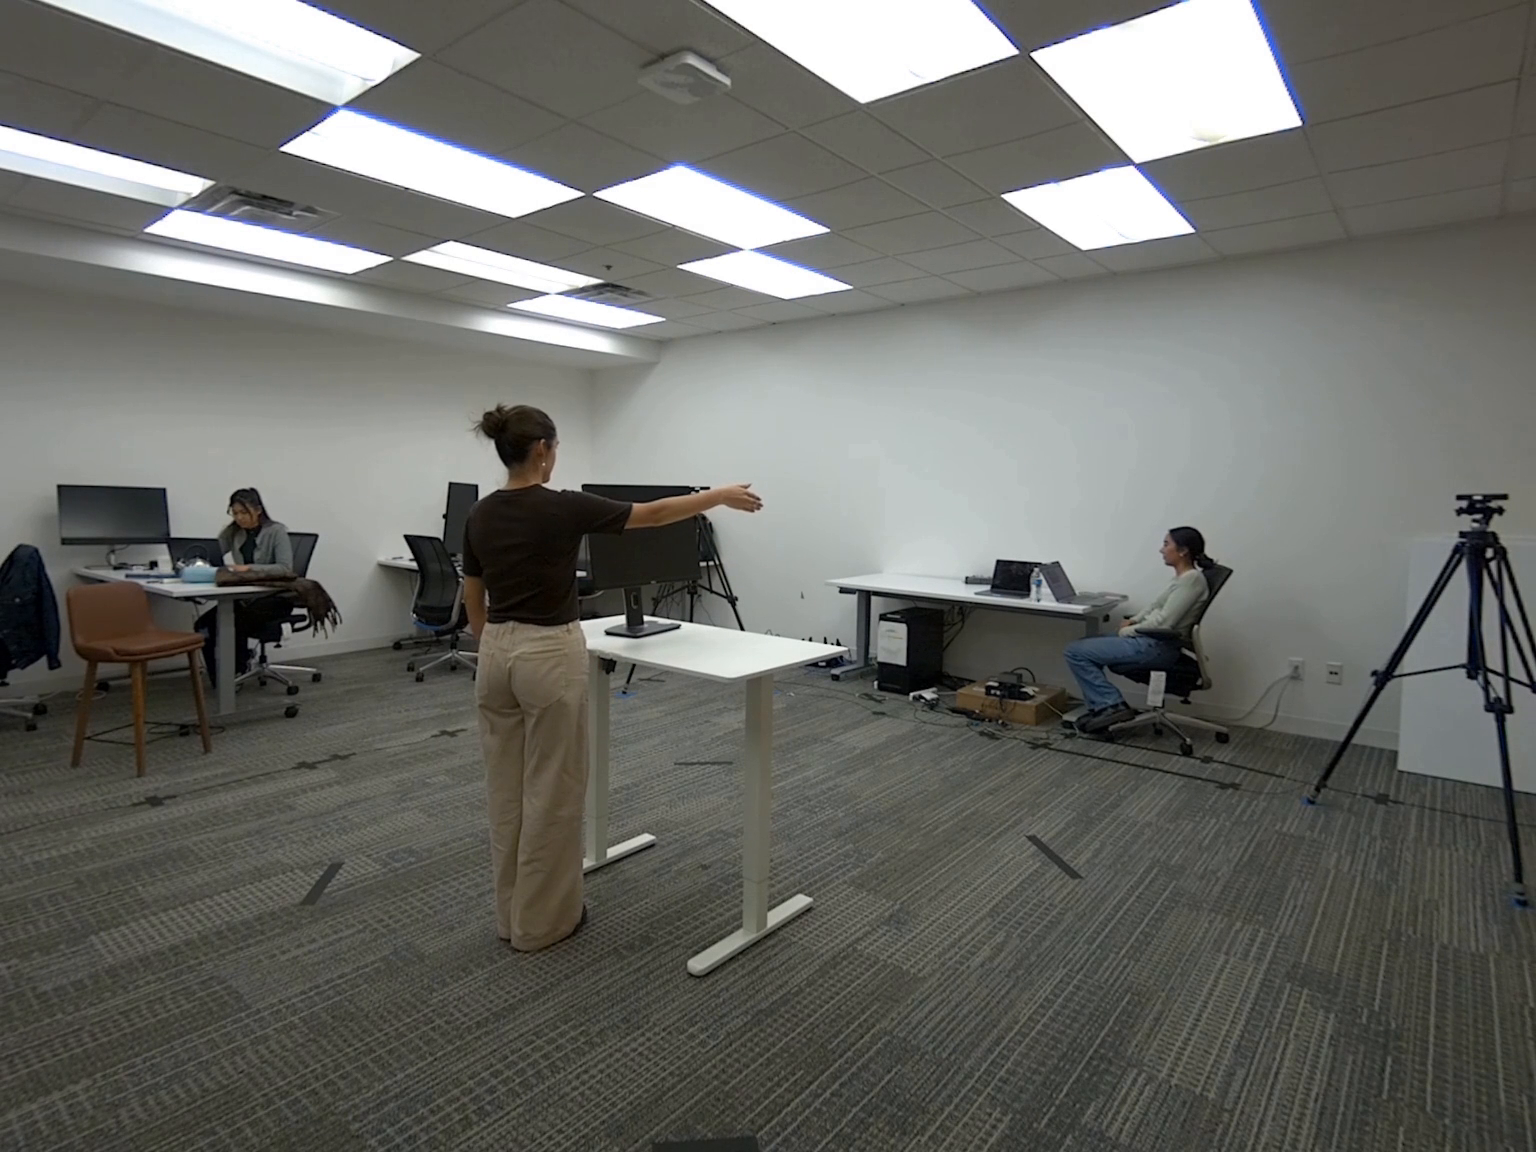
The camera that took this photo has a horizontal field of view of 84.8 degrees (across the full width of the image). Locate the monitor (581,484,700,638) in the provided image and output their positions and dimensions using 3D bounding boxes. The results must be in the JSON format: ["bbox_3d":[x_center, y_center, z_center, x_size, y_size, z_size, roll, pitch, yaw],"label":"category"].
[{"bbox_3d":[-0.454,-0.059,2.978,0.193,0.520,0.523,6,7,37],"label":"monitor"}]
